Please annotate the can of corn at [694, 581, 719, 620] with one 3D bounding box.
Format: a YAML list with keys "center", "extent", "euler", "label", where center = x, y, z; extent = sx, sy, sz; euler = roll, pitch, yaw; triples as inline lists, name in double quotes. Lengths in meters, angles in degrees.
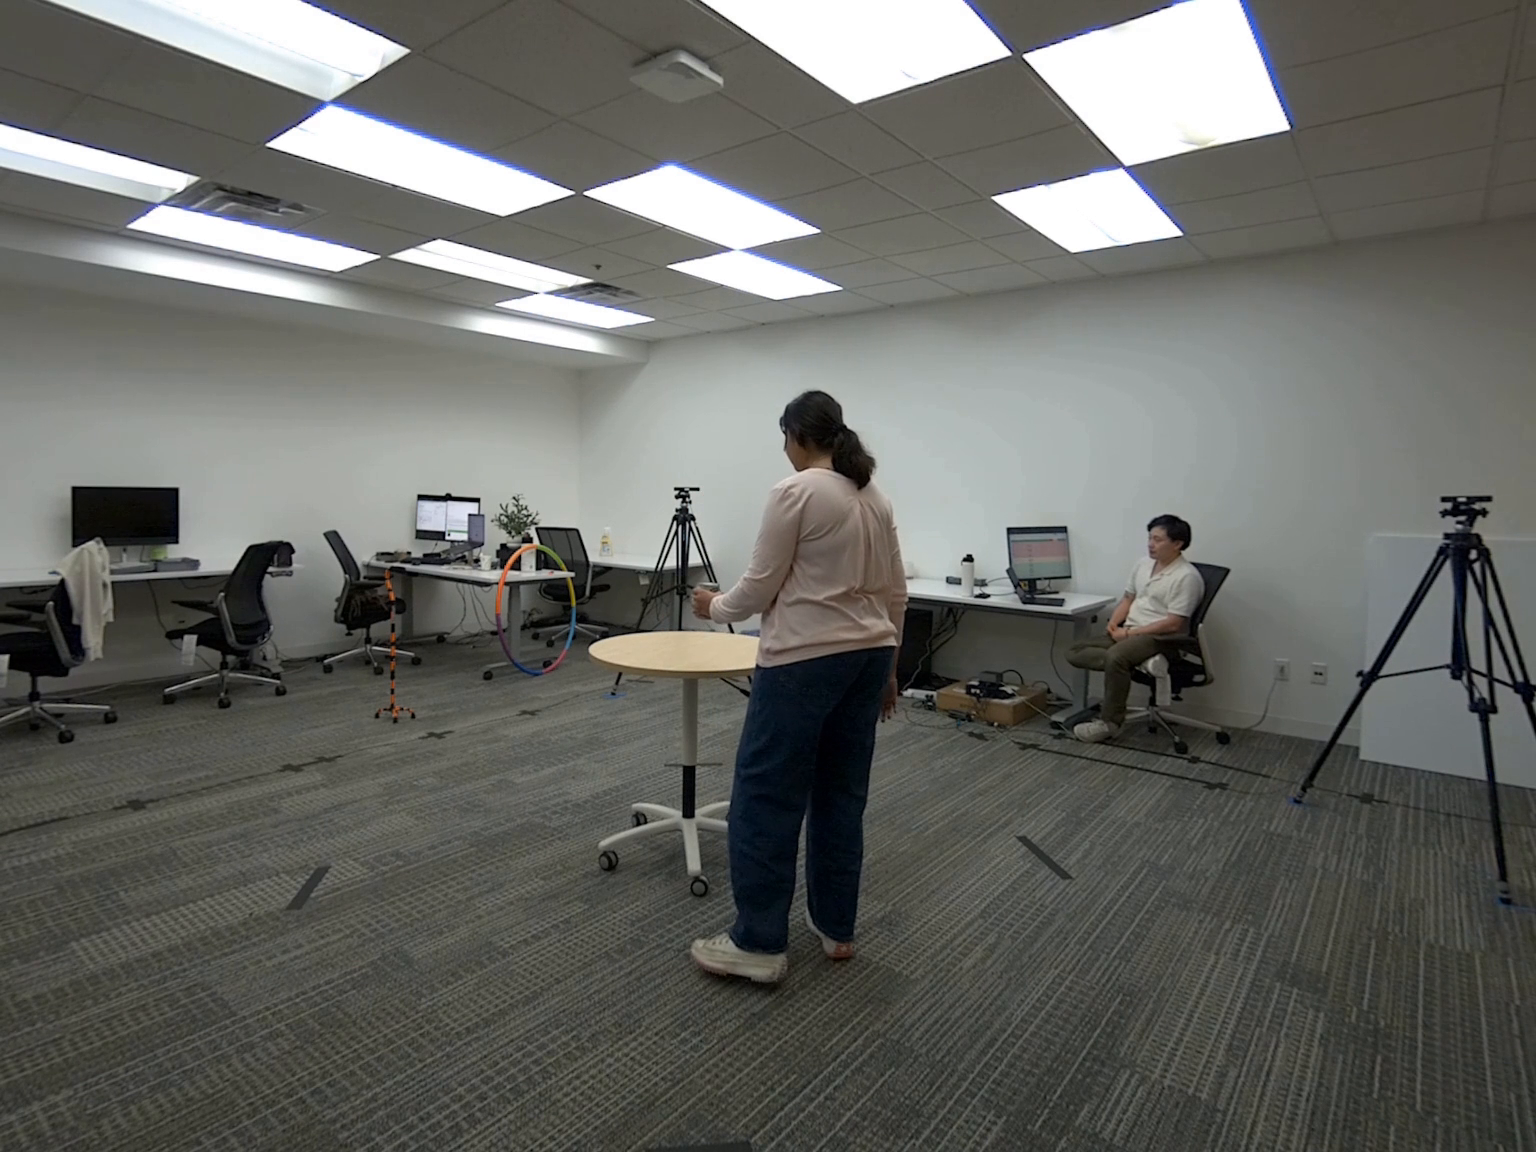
- center: [-0.205, 0.078, 2.767]
  extent: [0.074, 0.110, 0.075]
  euler: [2, 5, -2]
  label: "can of corn"
